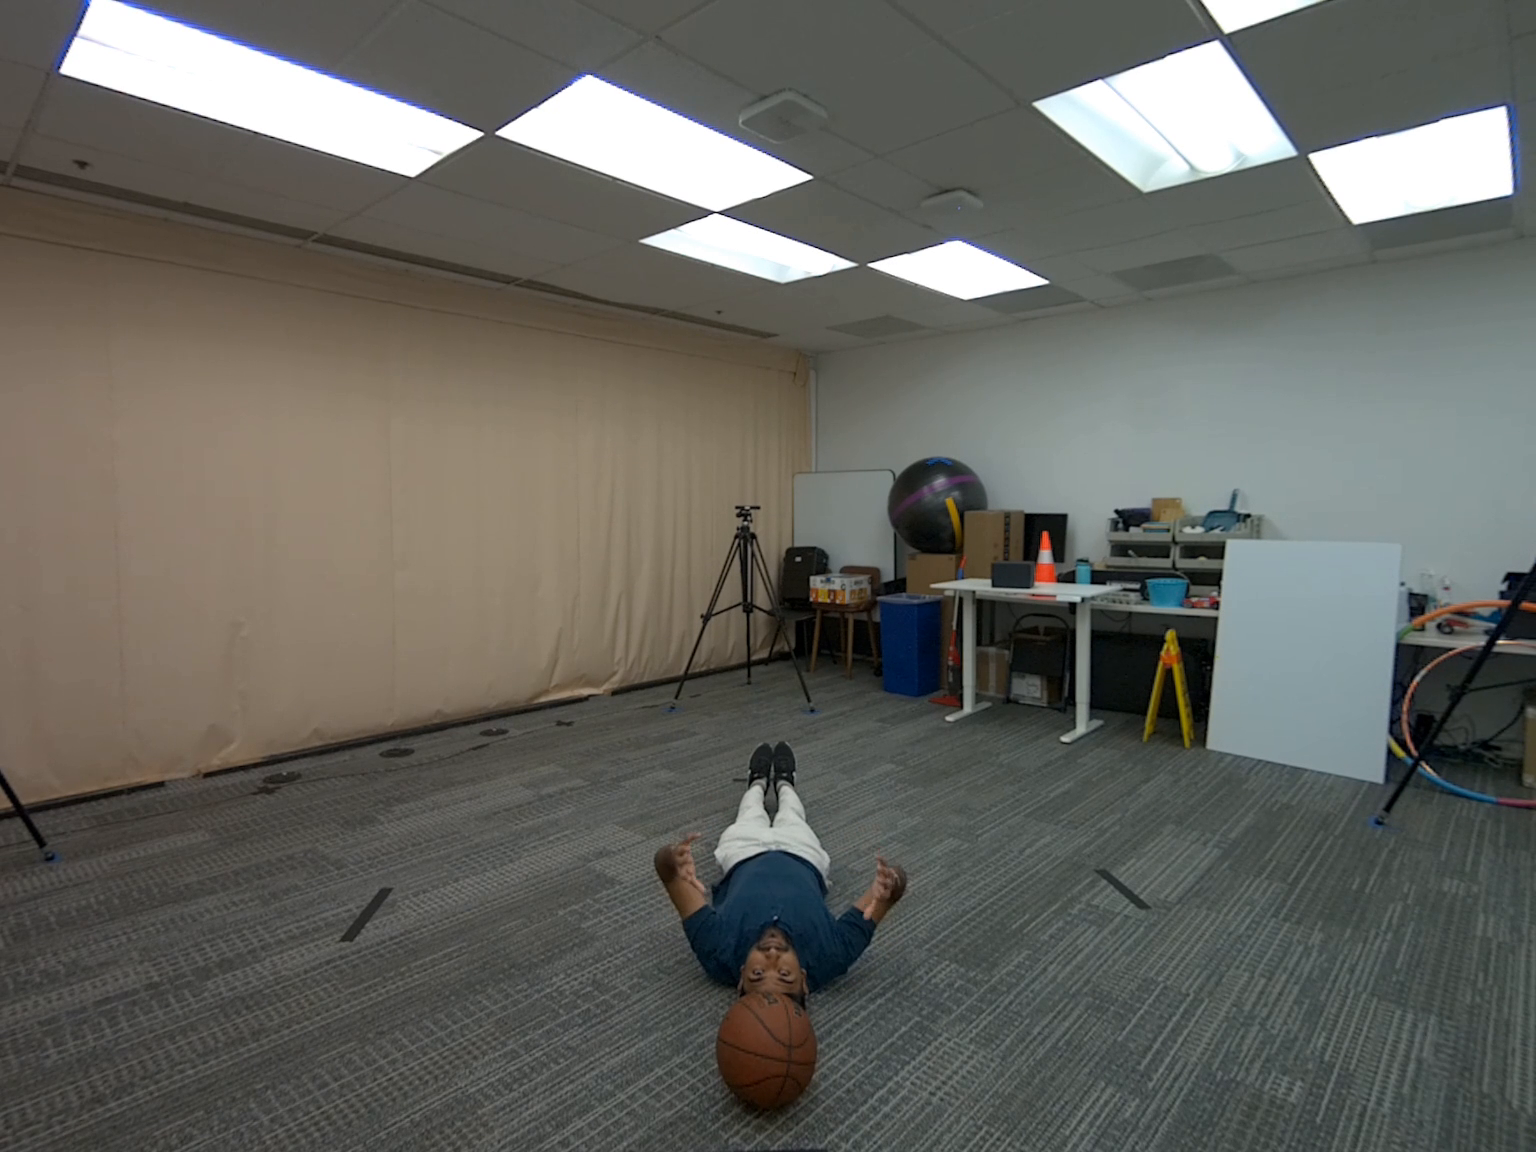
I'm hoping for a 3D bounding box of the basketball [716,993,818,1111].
[{"bbox_3d":[0.001,1.109,1.969,0.236,0.235,0.237,0,4,-2],"label":"basketball"}]
